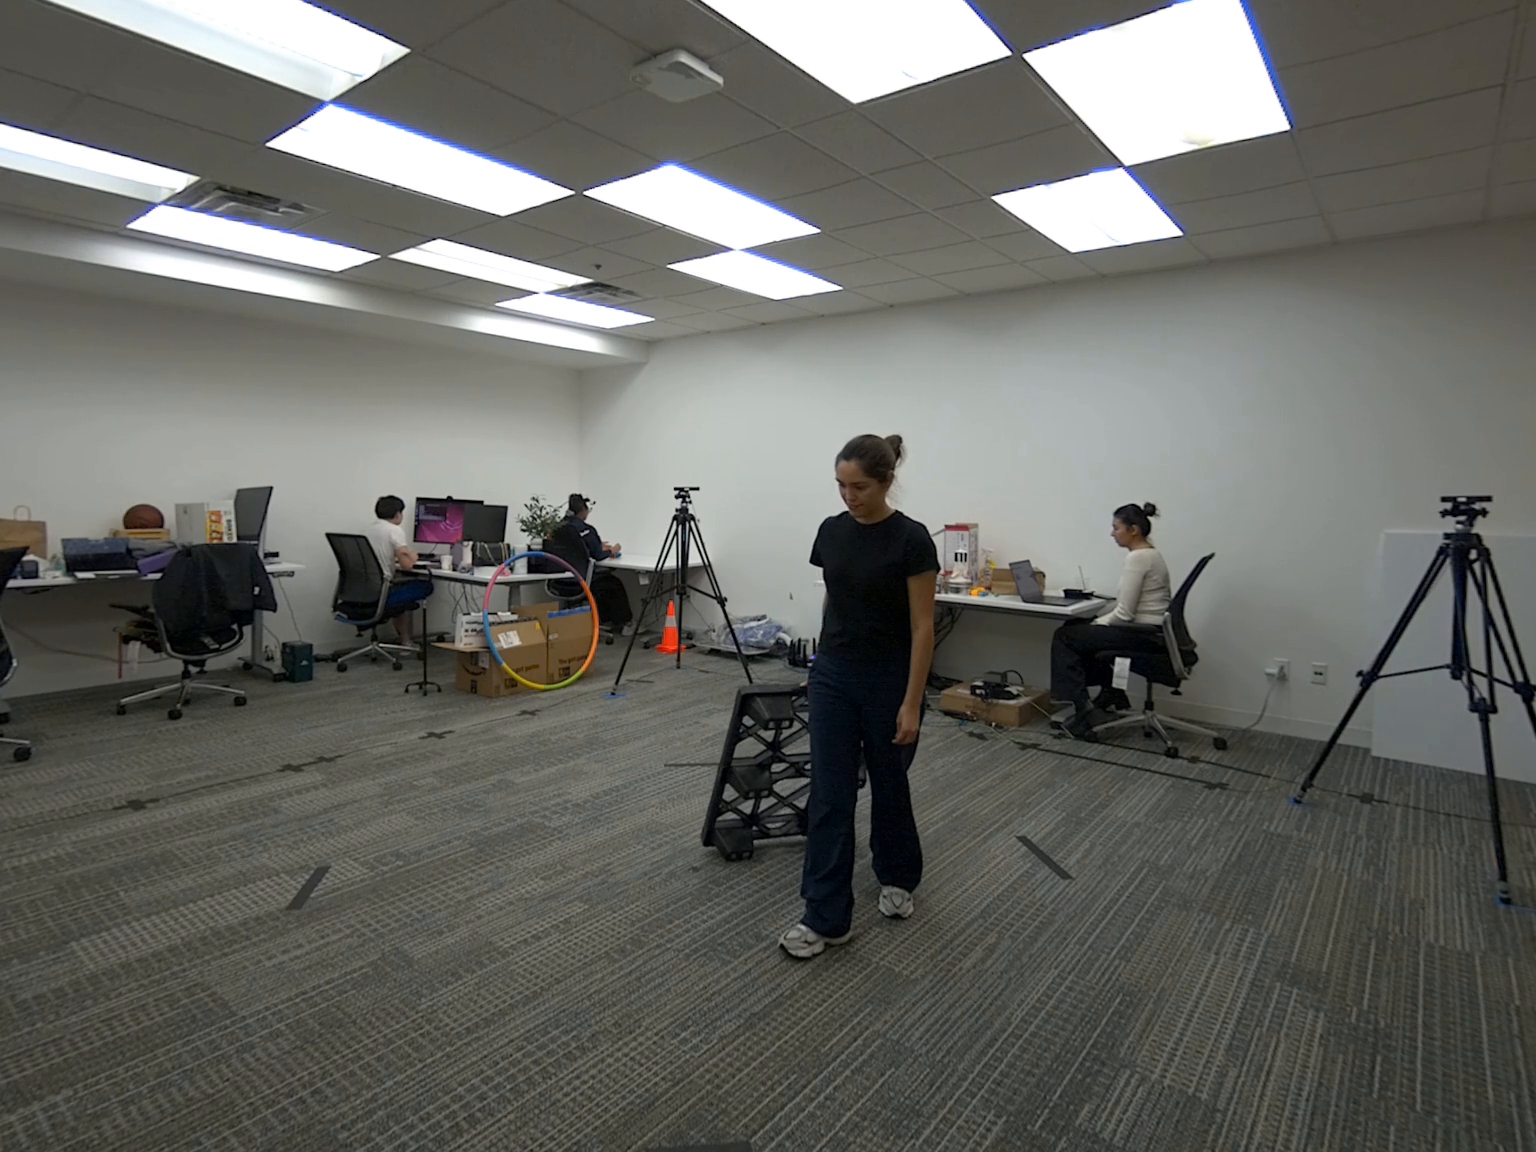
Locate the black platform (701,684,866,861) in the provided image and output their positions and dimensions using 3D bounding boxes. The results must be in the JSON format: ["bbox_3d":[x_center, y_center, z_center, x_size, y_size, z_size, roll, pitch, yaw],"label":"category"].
[{"bbox_3d":[0.120,0.722,3.109,0.594,0.790,0.149,0,35,-19],"label":"black platform"}]
